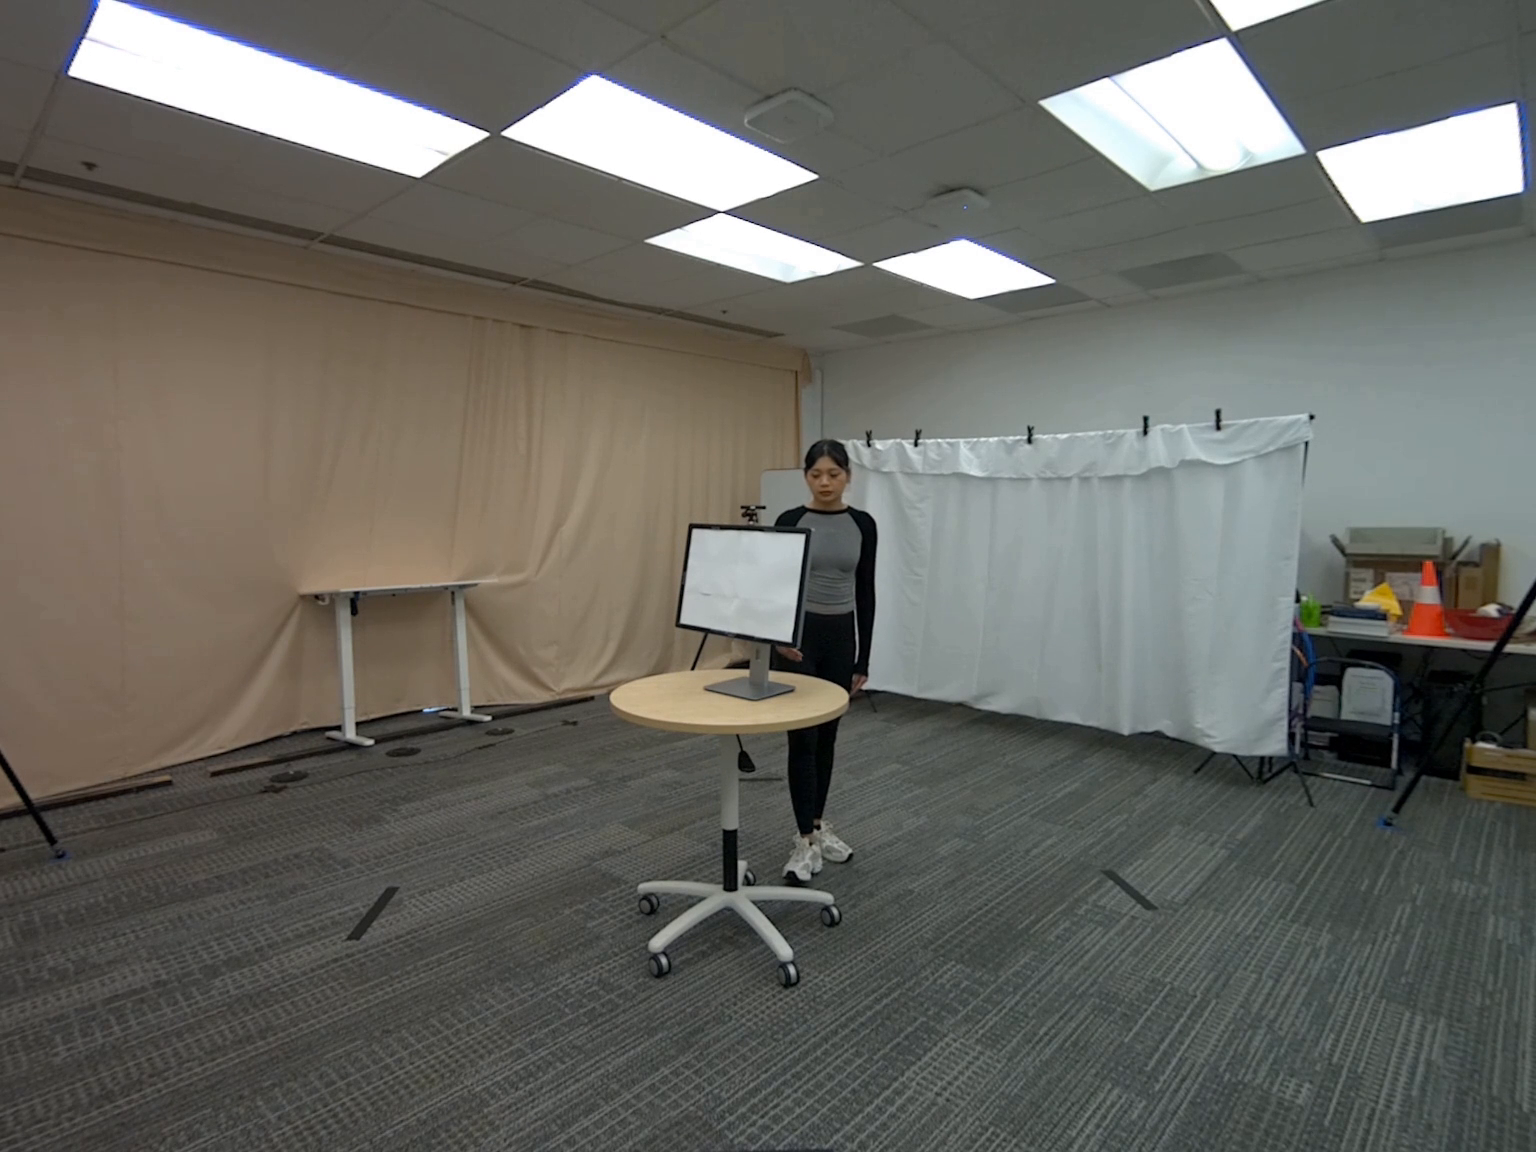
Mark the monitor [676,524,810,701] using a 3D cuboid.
[{"bbox_3d":[-0.059,0.111,2.742,0.557,0.521,0.181,4,6,43],"label":"monitor"}]
